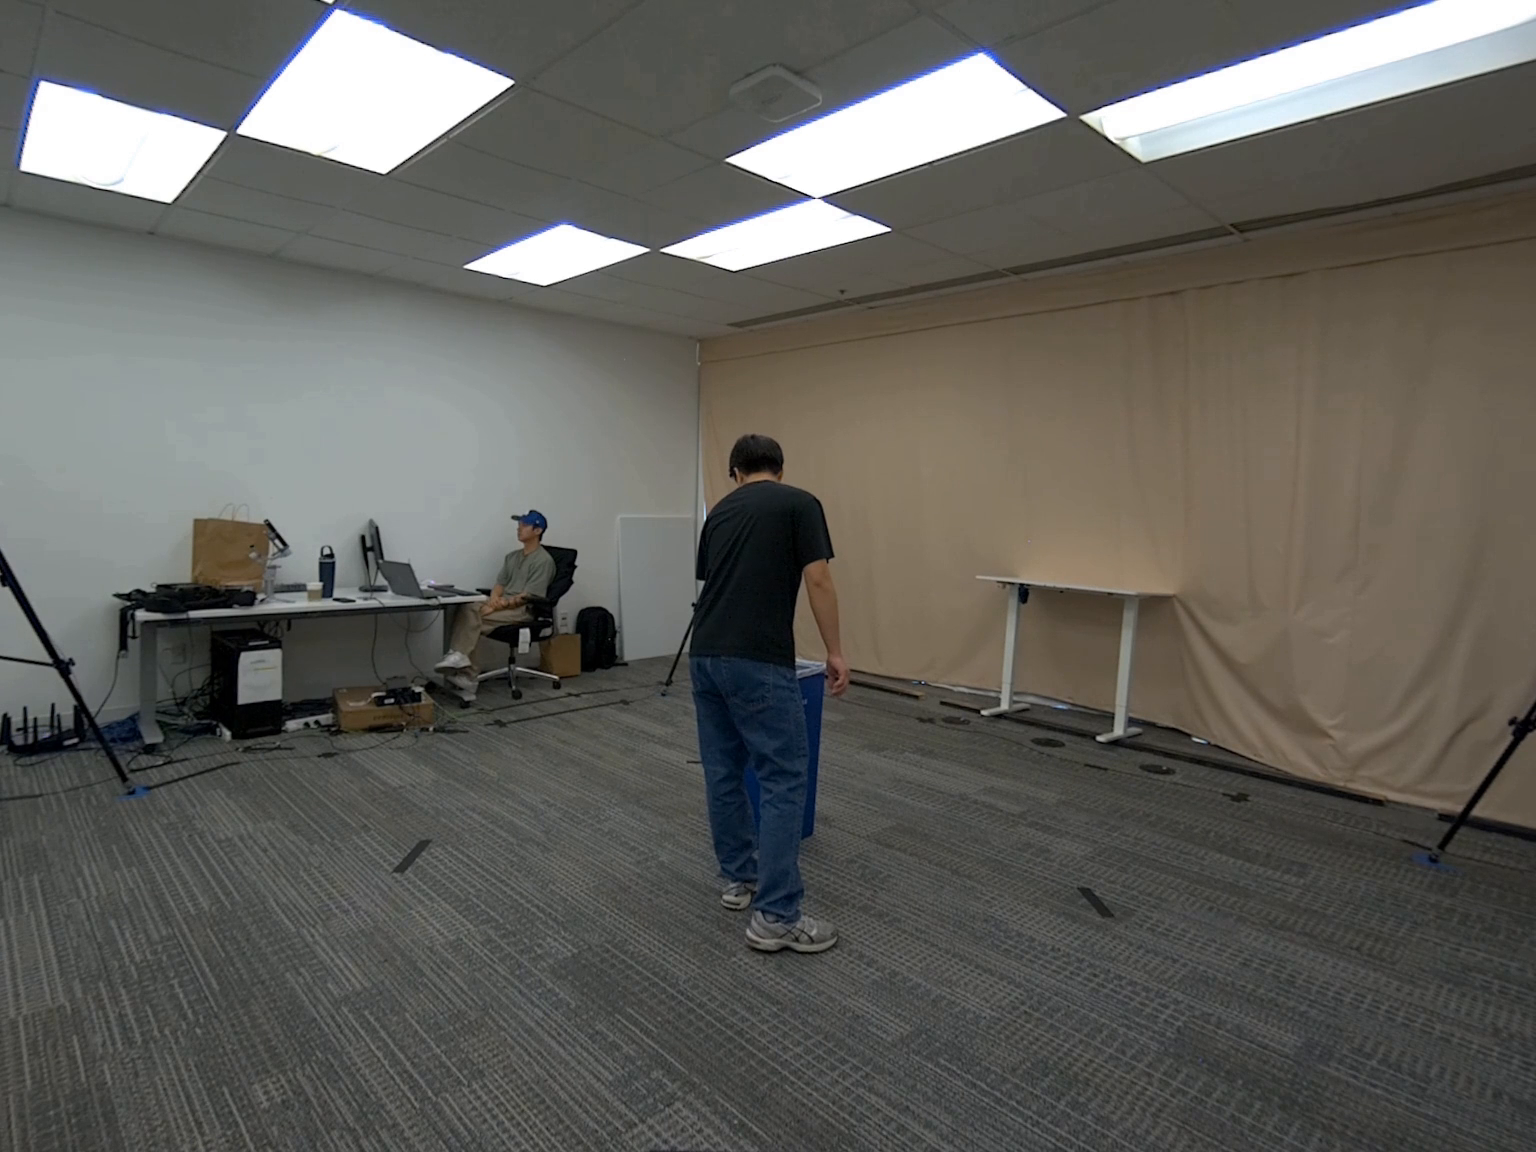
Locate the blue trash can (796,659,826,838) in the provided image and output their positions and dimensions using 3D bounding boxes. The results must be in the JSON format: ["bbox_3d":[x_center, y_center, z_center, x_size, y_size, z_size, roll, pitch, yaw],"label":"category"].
[{"bbox_3d":[-0.003,0.721,3.509,0.388,0.712,0.365,5,4,41],"label":"blue trash can"}]
